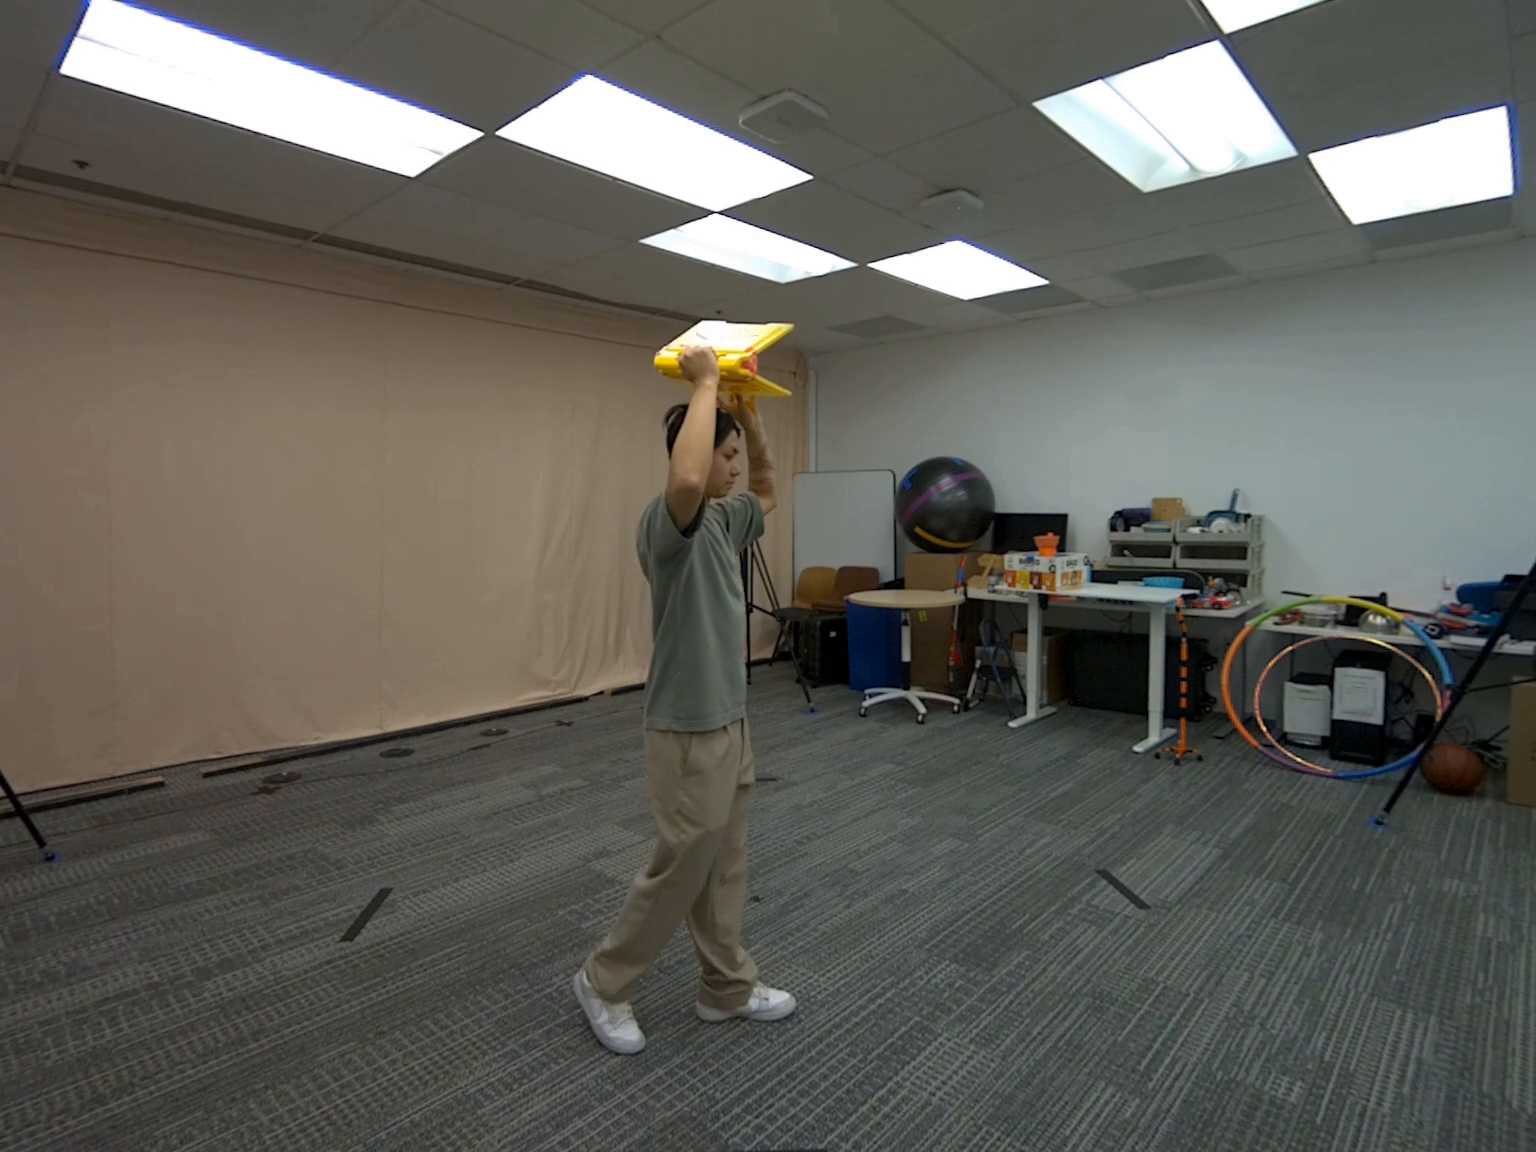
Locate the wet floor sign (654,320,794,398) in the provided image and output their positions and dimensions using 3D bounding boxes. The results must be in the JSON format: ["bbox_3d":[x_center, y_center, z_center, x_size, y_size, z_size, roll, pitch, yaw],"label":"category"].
[{"bbox_3d":[-0.111,-0.565,2.216,0.286,0.287,0.643,5,14,9],"label":"wet floor sign"}]
